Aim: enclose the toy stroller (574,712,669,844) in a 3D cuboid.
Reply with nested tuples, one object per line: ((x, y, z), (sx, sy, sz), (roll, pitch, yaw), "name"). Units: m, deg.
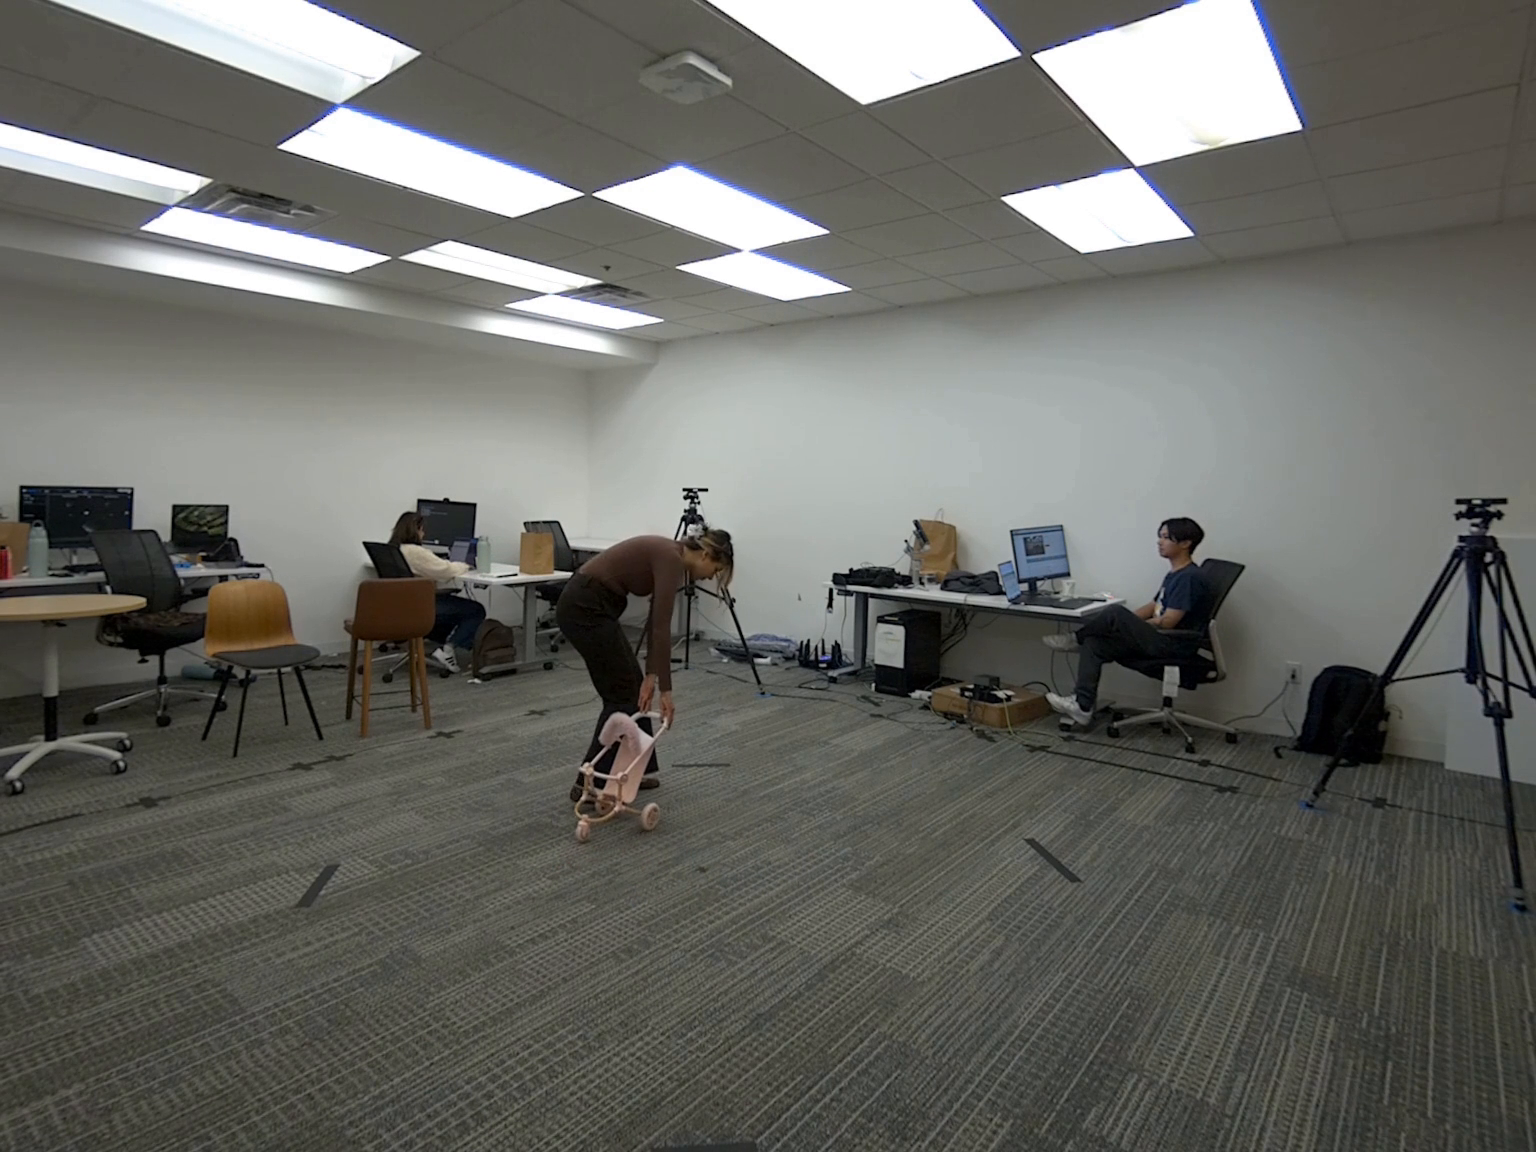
((-0.628, 0.802, 3.478), (0.290, 0.539, 0.328), (2, -13, 39), "toy stroller")
